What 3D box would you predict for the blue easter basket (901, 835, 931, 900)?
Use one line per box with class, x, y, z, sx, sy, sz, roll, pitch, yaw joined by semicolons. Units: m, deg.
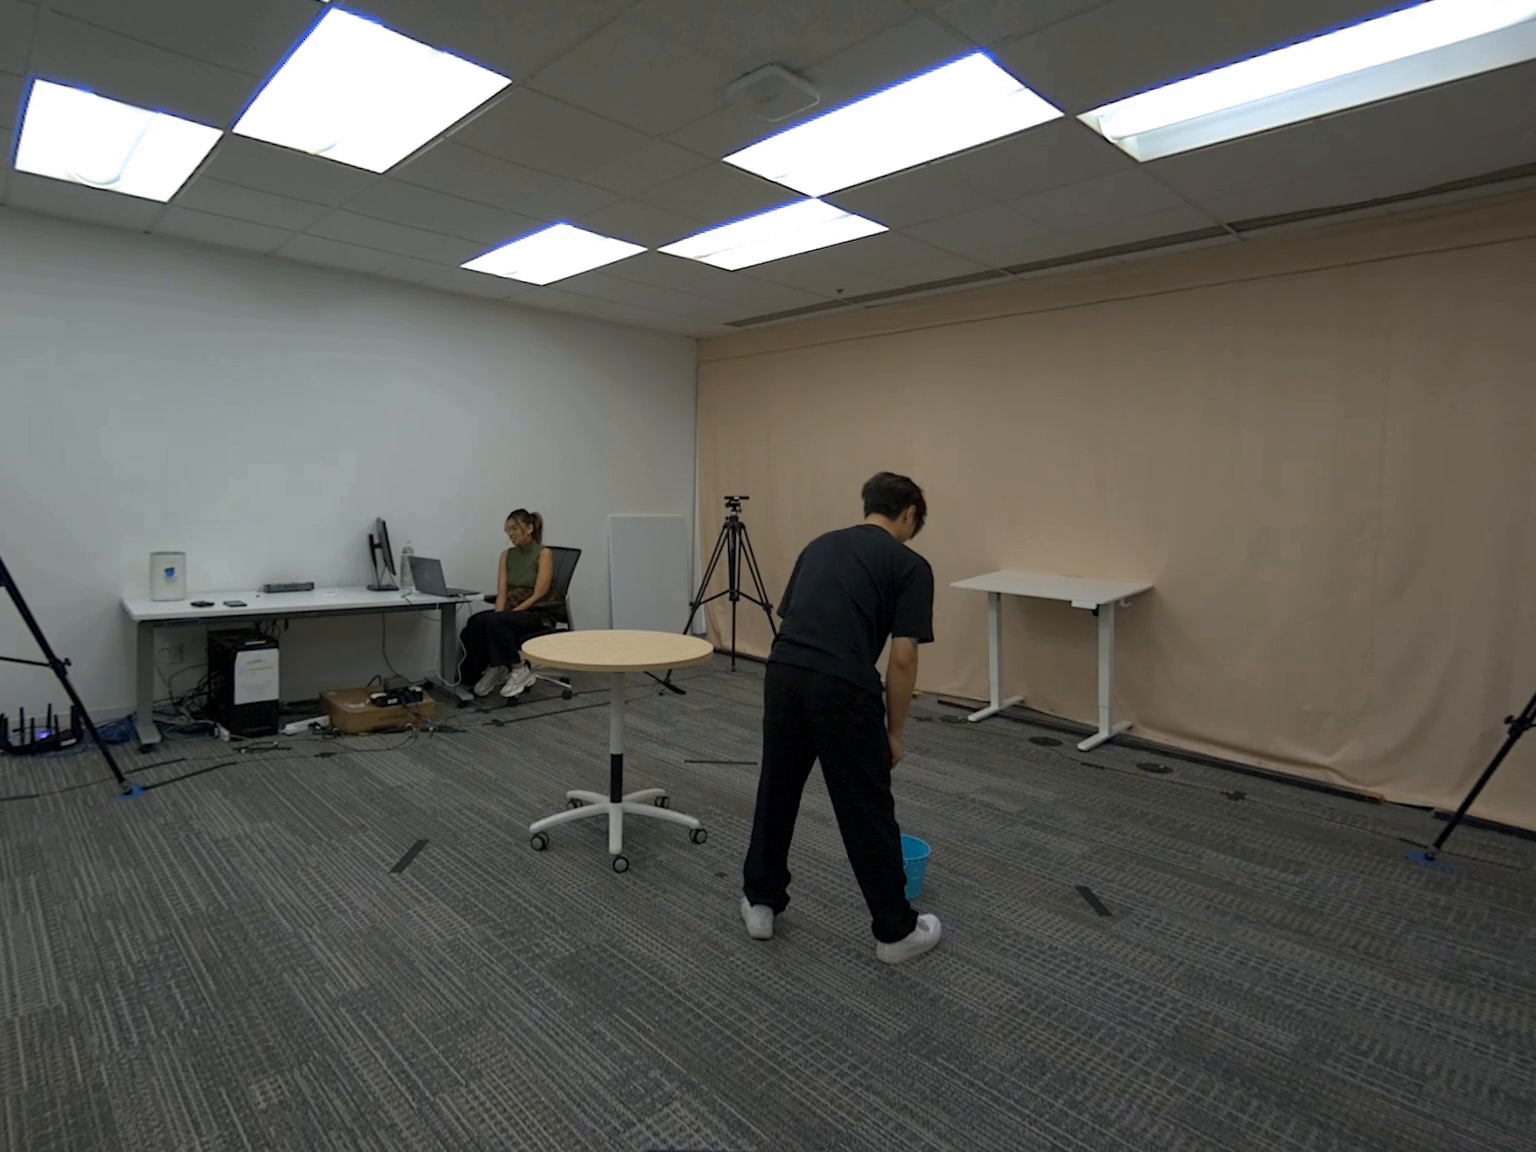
blue easter basket;0.456;1.047;3.037;0.243;0.155;0.244;2;5;-1
